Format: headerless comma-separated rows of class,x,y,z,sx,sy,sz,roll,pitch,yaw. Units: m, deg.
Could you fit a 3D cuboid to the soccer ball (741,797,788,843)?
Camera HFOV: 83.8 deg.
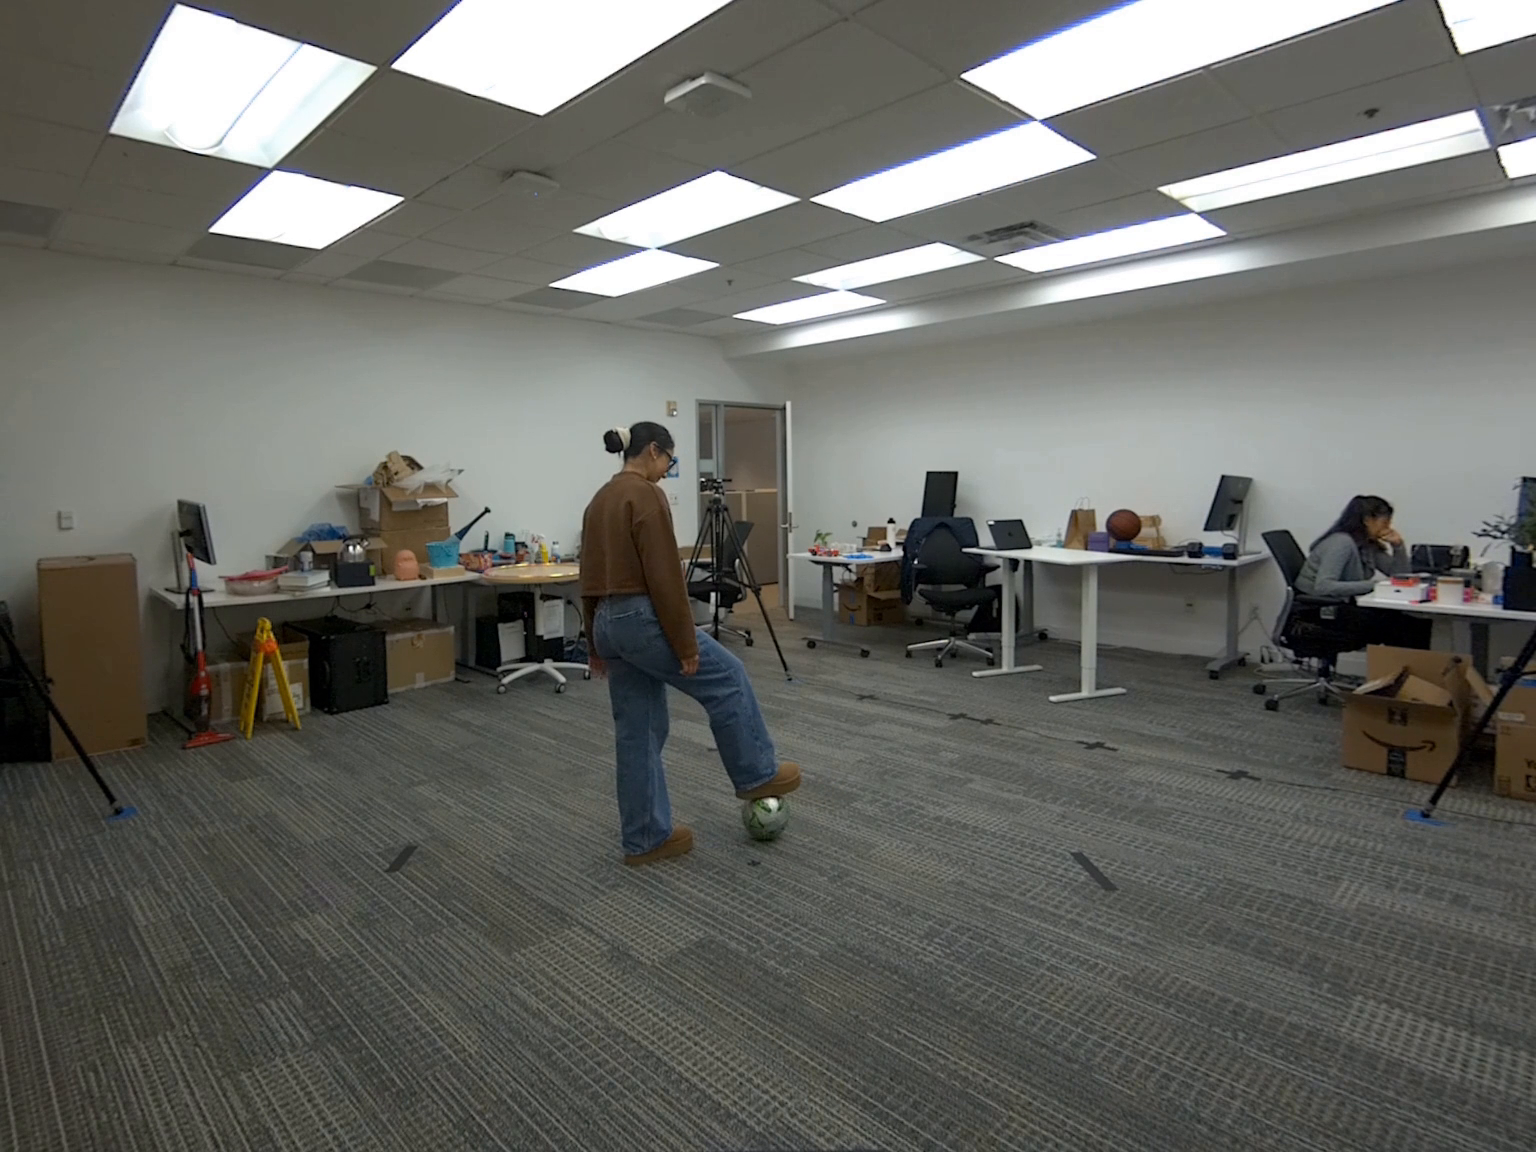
soccer ball,-0.005,0.930,3.320,0.187,0.187,0.188,-1,5,-2
